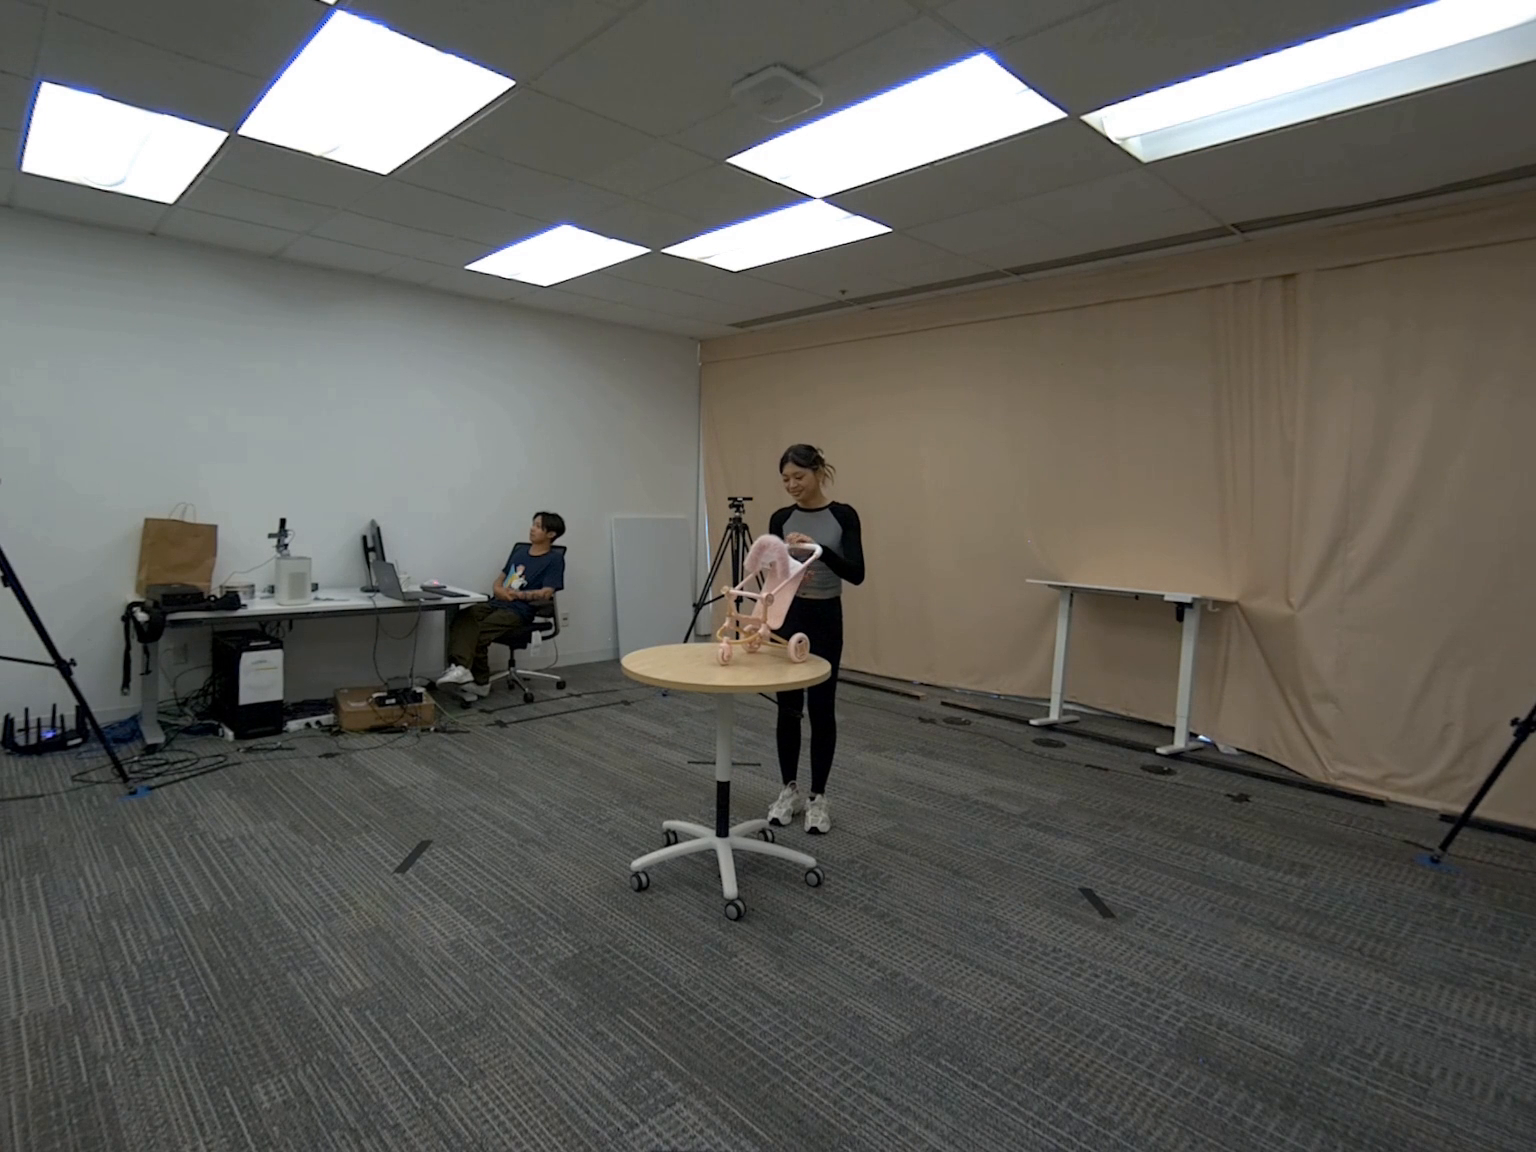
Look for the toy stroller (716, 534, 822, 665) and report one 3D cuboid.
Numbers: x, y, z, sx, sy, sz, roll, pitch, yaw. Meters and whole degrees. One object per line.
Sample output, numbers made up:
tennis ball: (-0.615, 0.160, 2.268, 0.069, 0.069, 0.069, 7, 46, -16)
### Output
toy stroller: (-0.026, 0.089, 3.137, 0.331, 0.537, 0.288, 18, -8, -40)
